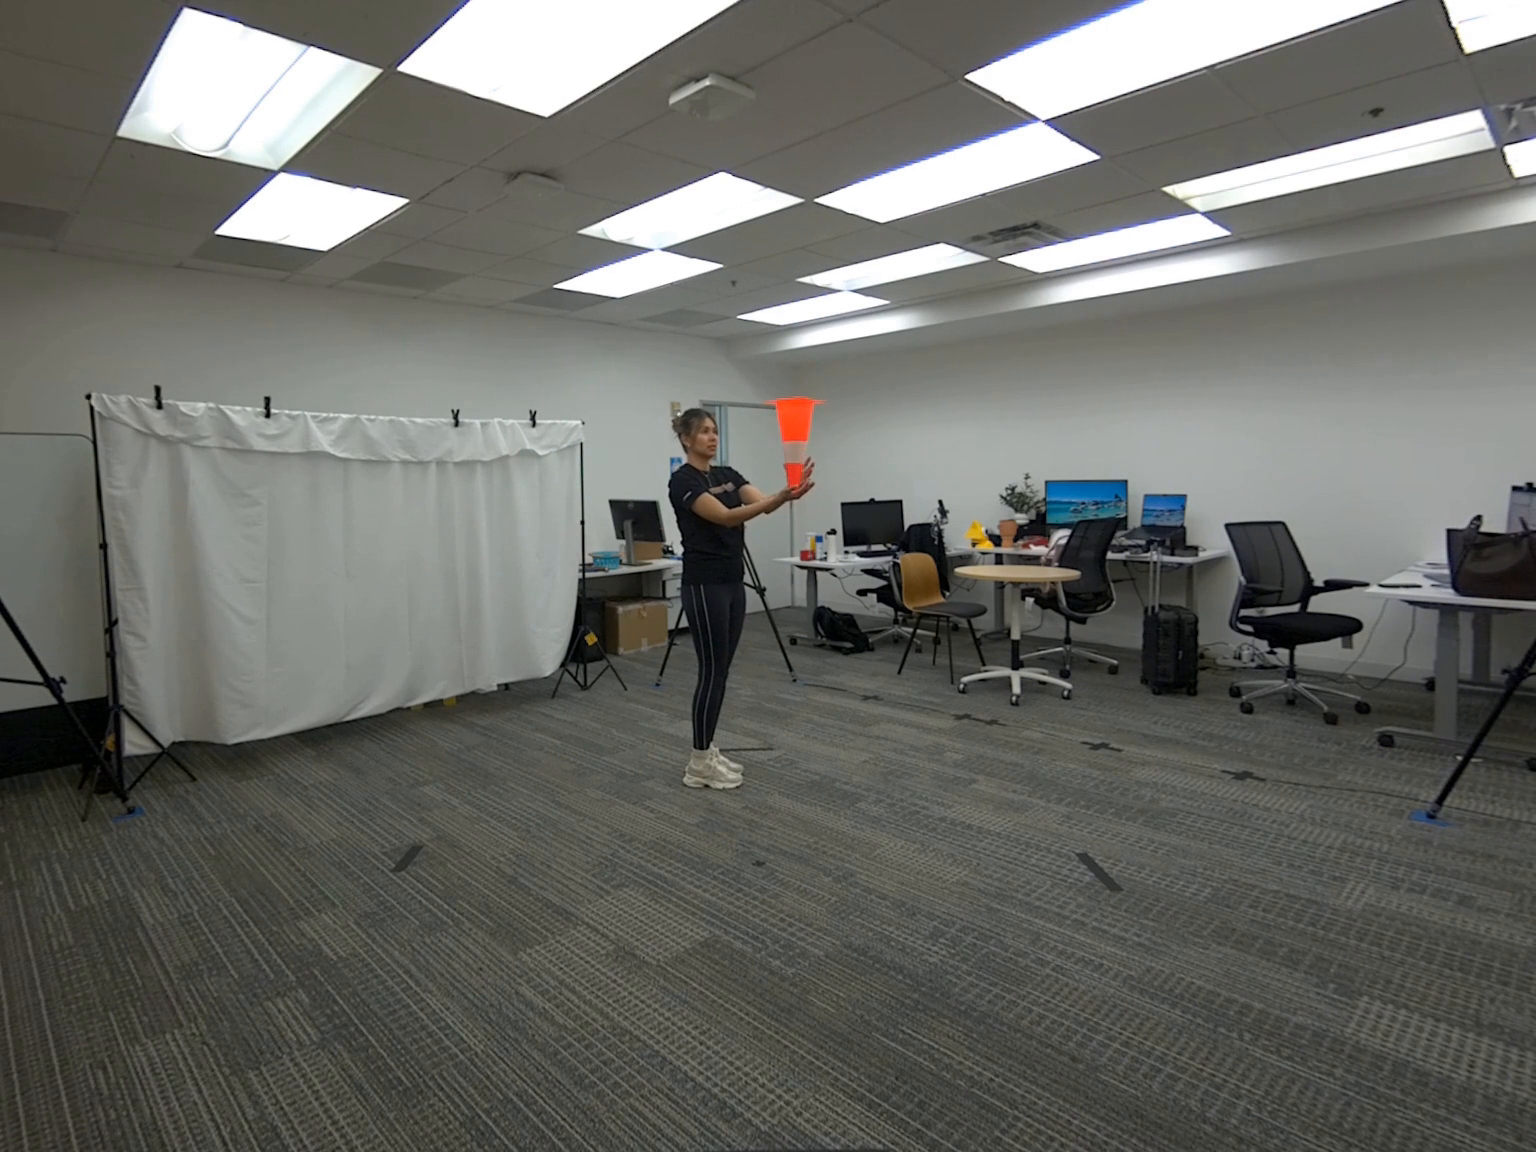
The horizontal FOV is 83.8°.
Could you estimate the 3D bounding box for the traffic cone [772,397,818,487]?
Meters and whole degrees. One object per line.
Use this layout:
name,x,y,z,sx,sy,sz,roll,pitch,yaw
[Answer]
traffic cone,0.123,-0.537,3.558,0.211,0.383,0.198,1,3,35
